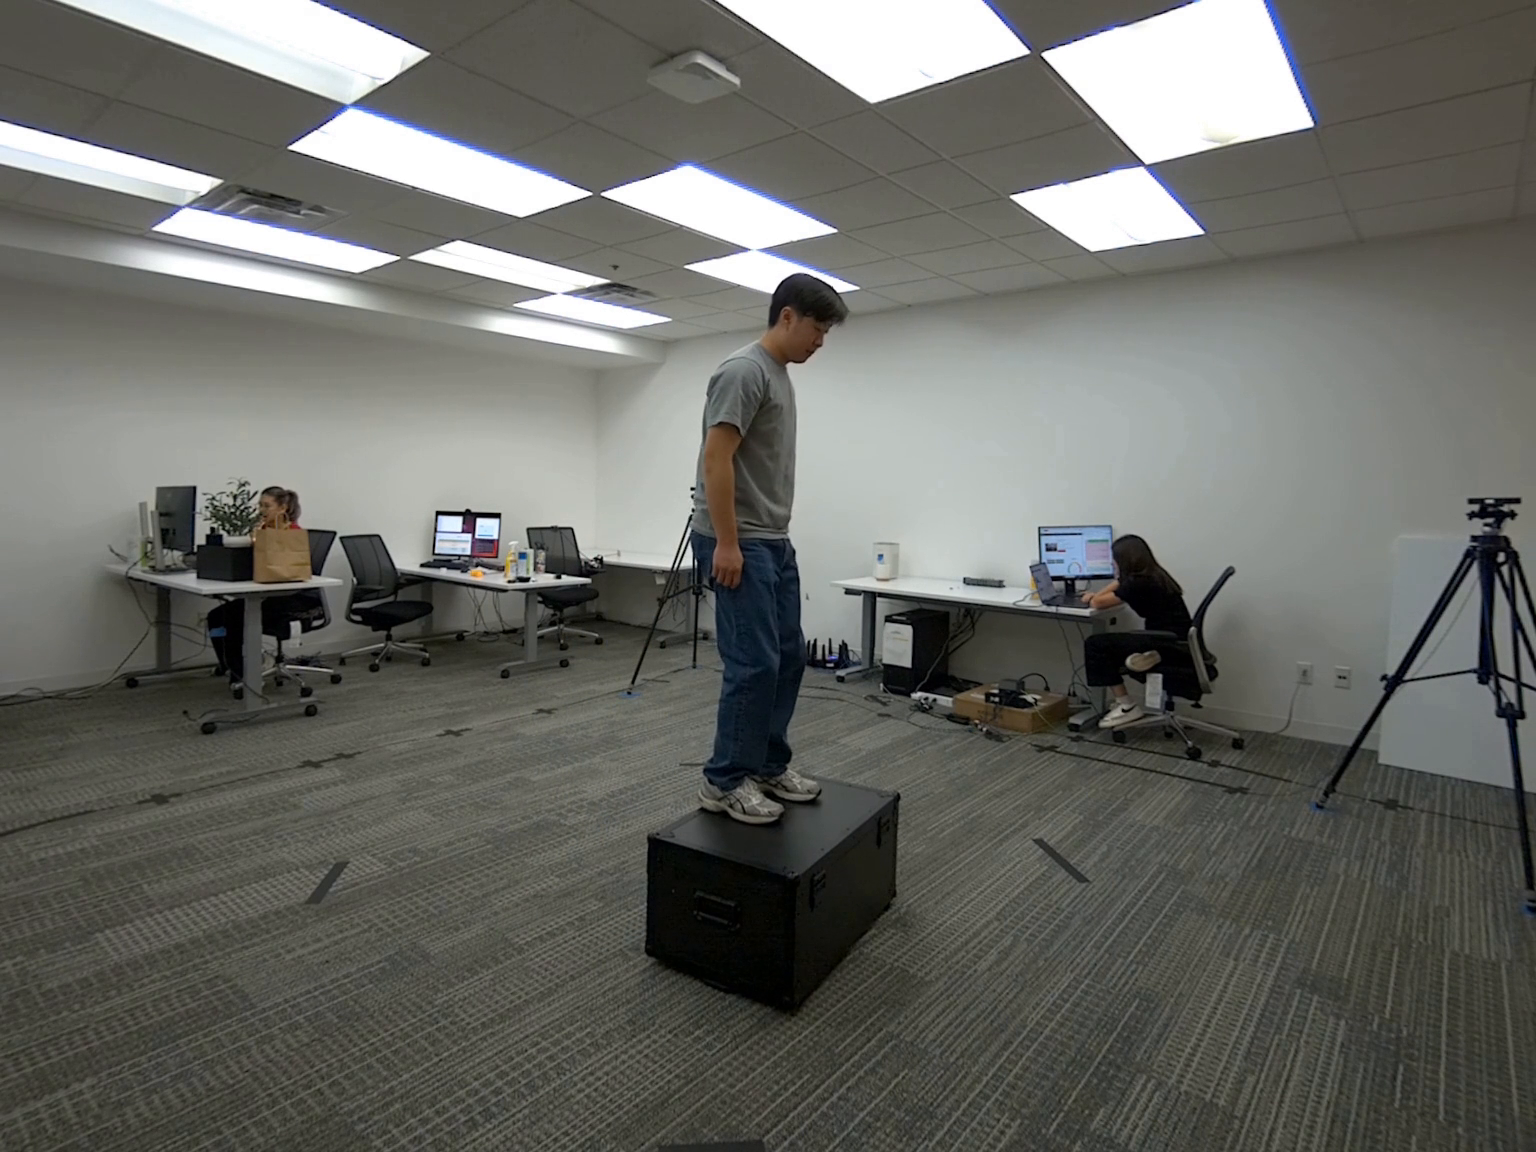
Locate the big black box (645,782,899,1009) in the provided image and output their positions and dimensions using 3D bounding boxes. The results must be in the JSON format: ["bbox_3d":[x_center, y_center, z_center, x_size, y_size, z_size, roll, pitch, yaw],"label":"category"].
[{"bbox_3d":[0.051,0.925,2.698,0.537,0.395,0.840,3,6,29],"label":"big black box"}]
